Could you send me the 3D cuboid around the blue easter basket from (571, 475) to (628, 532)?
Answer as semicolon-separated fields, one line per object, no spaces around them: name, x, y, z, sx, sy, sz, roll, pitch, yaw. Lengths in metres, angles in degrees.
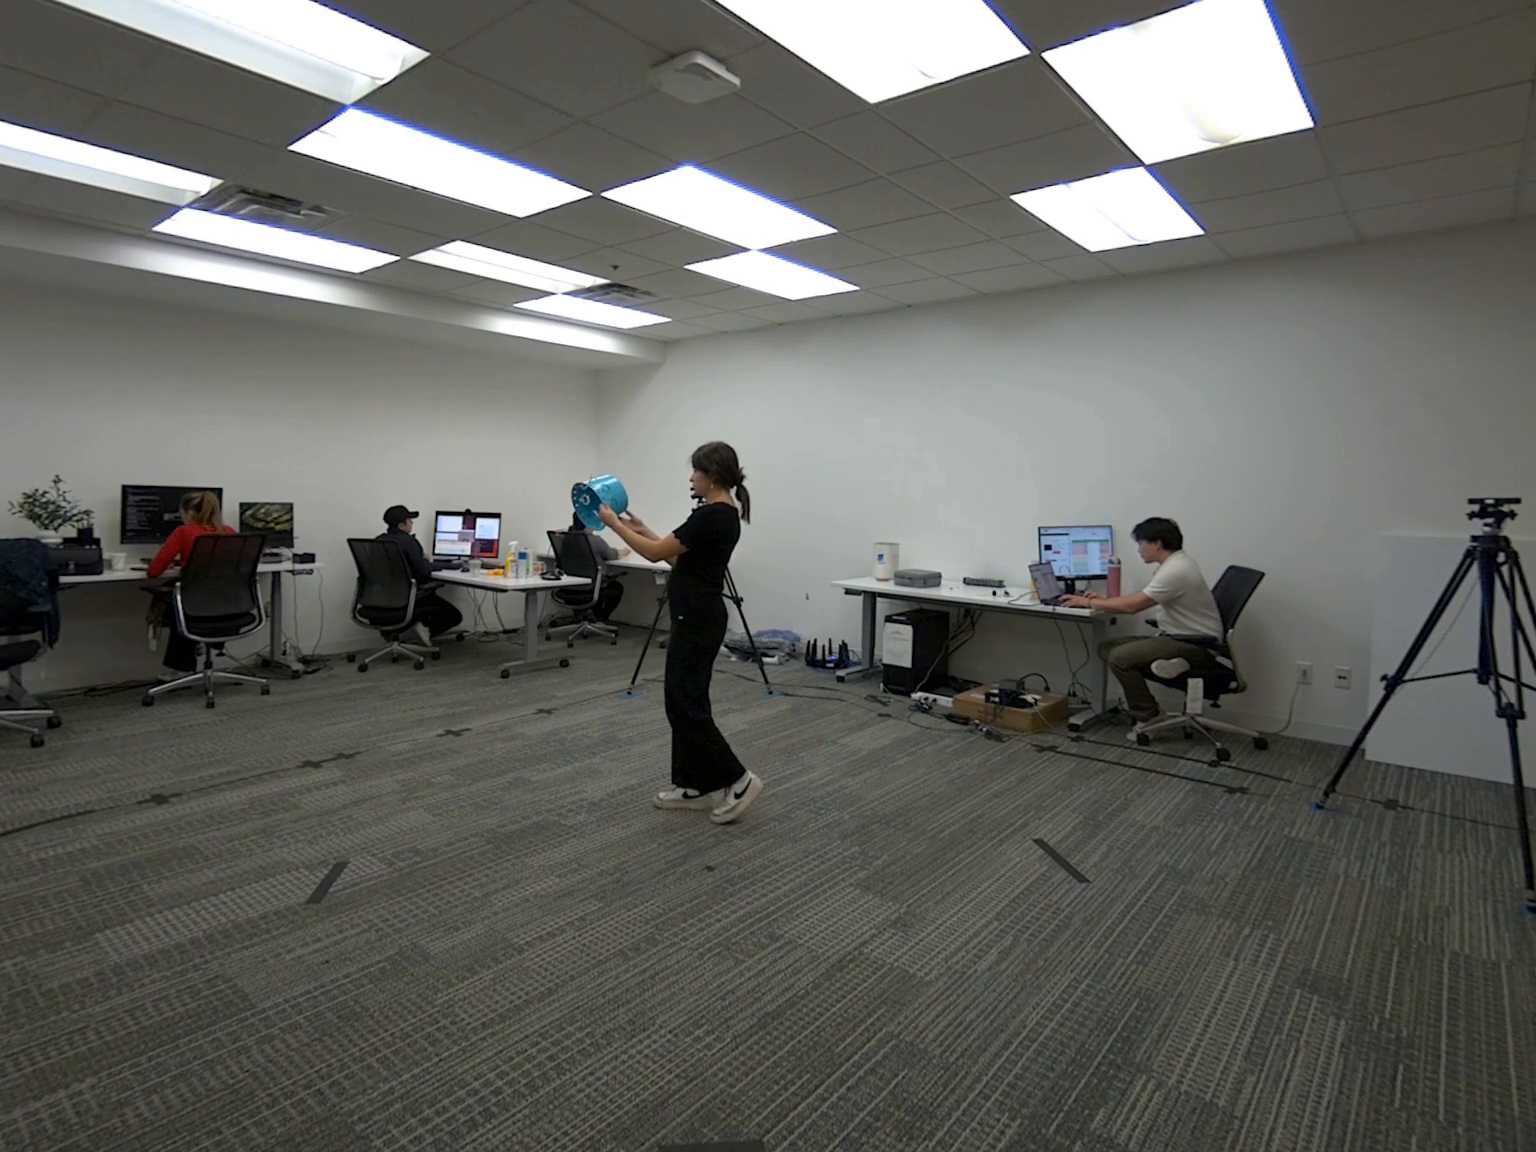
blue easter basket;-0.750;-0.342;3.749;0.252;0.238;0.154;5;27;45
